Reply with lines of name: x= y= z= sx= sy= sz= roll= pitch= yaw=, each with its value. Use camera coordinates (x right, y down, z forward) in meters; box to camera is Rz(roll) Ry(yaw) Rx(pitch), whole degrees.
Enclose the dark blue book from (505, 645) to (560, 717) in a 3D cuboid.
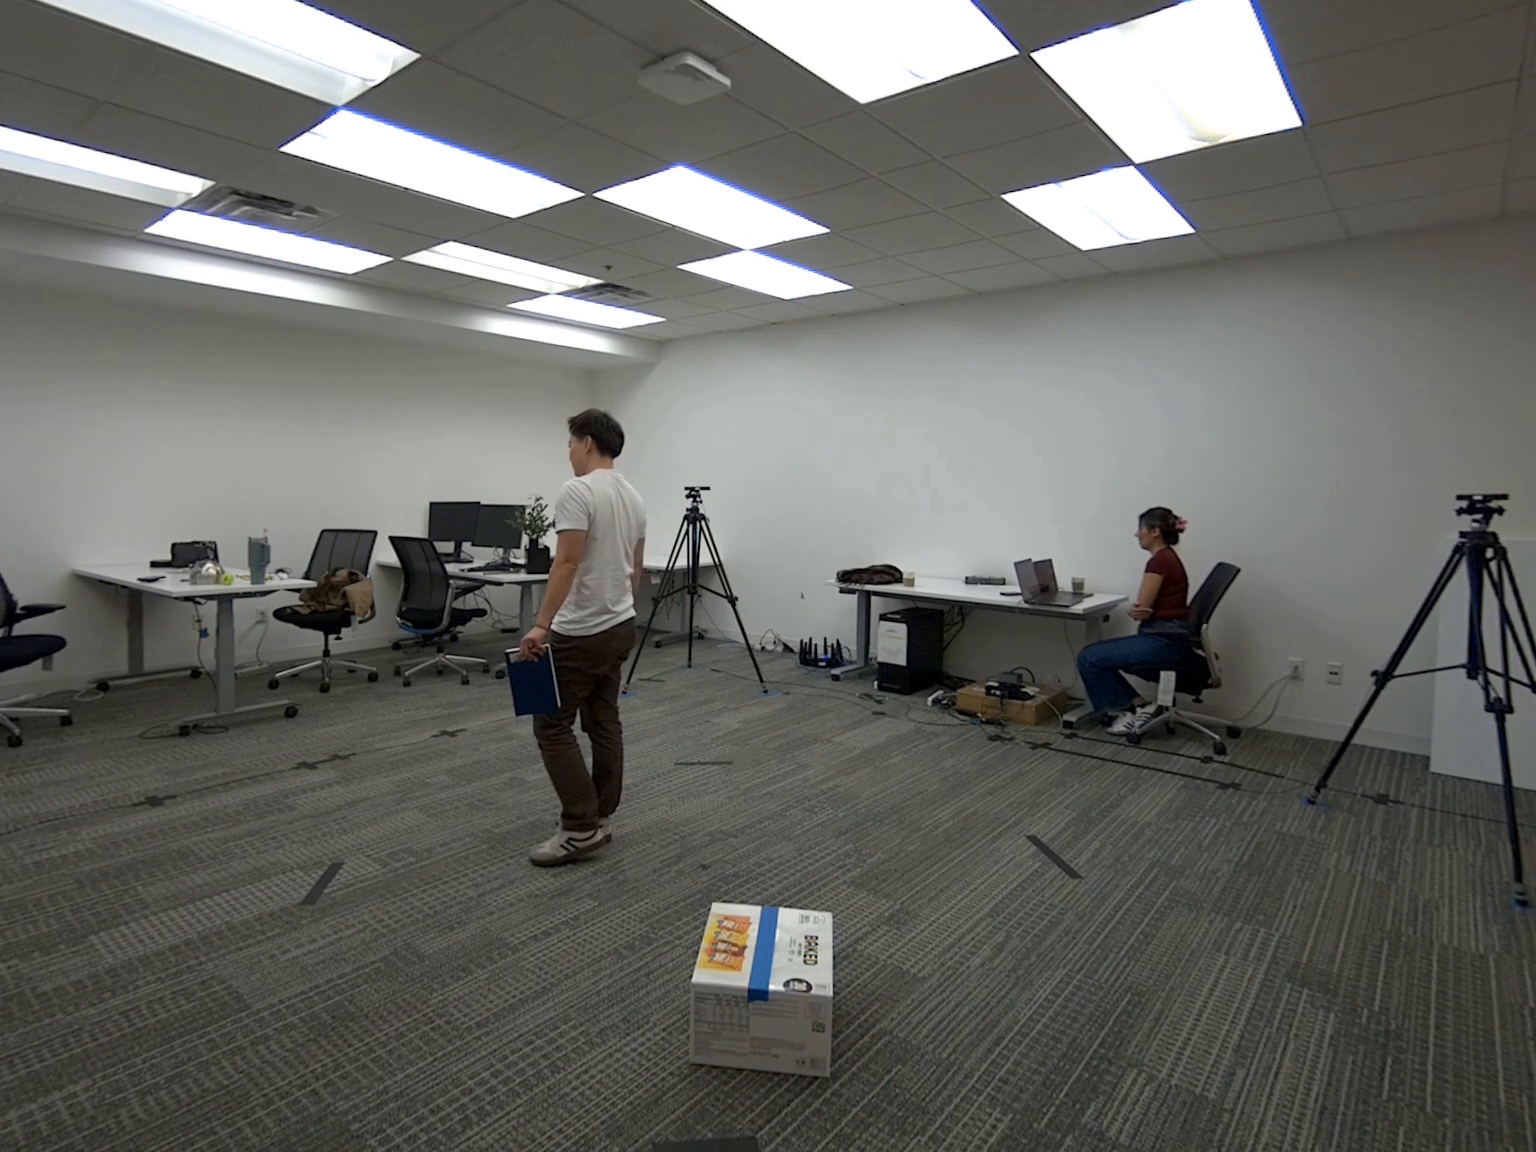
dark blue book: x=-0.869 y=0.372 z=3.082 sx=0.163 sy=0.243 sz=0.046 roll=-8 pitch=9 yaw=-1
